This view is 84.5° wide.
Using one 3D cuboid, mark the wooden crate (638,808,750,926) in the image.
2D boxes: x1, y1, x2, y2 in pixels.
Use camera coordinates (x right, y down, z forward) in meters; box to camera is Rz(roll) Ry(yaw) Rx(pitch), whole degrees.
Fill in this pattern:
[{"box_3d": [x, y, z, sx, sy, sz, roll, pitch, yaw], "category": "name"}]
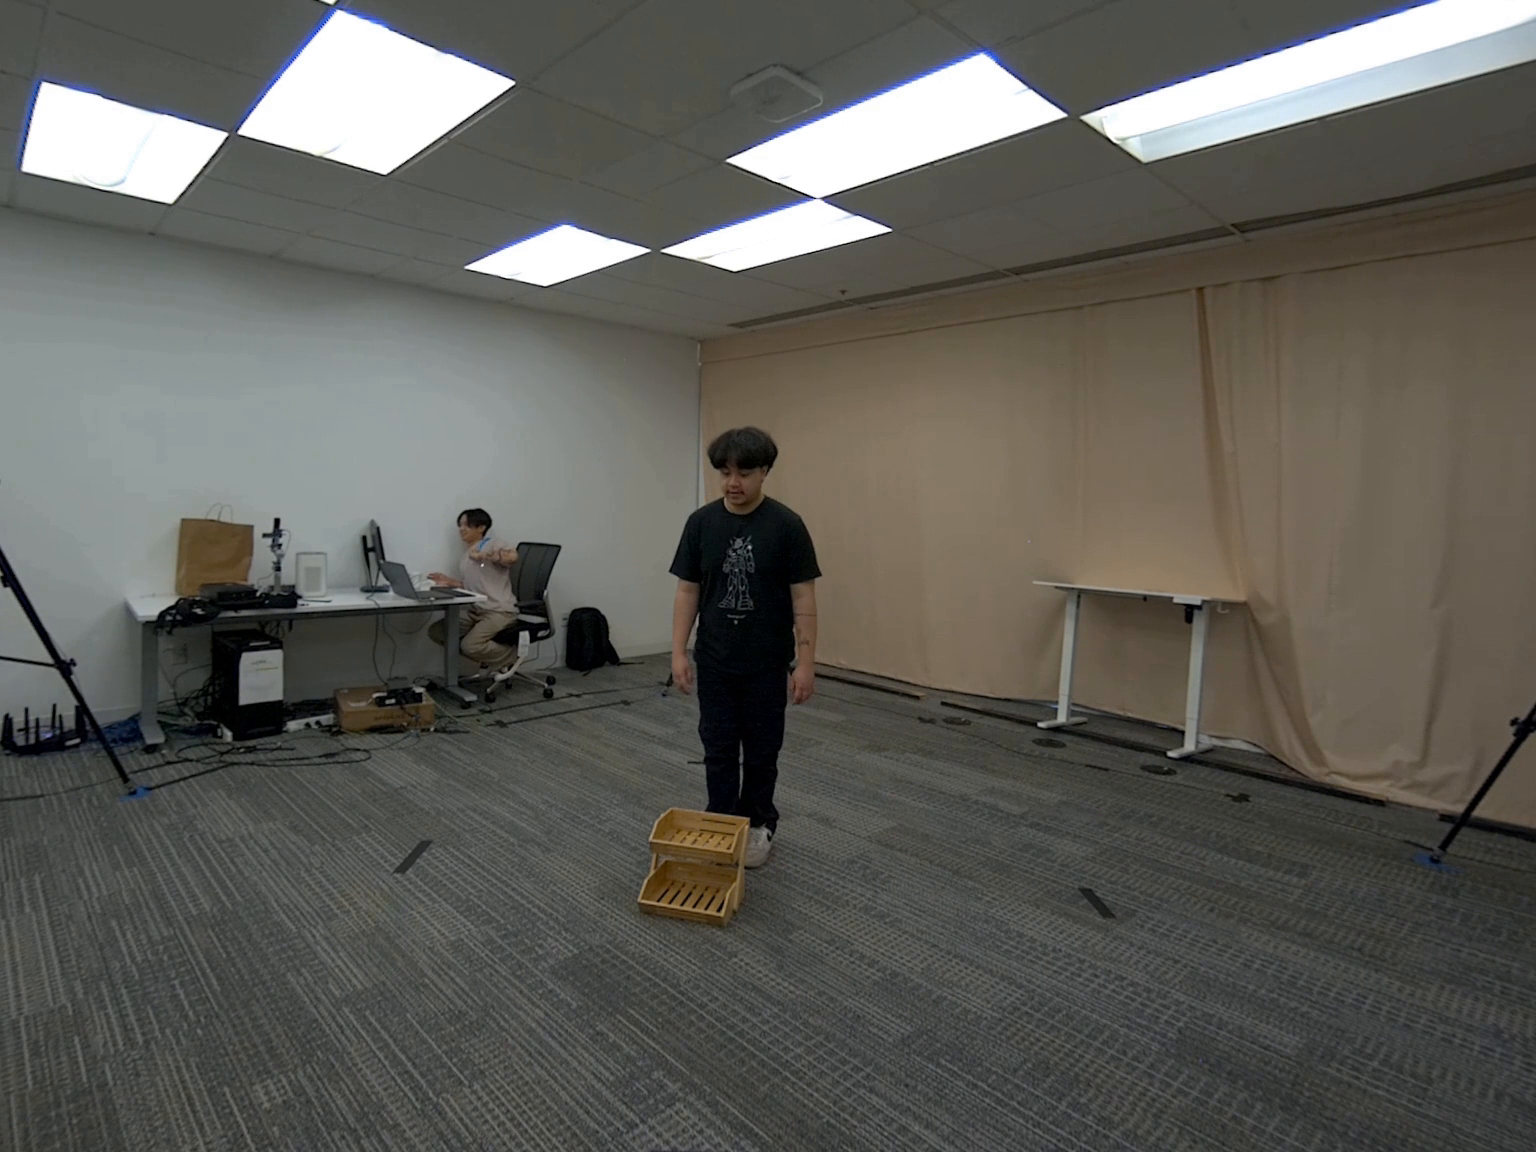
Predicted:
[{"box_3d": [-0.260, 0.995, 2.889, 0.329, 0.272, 0.299, 3, 5, 15], "category": "wooden crate"}]
